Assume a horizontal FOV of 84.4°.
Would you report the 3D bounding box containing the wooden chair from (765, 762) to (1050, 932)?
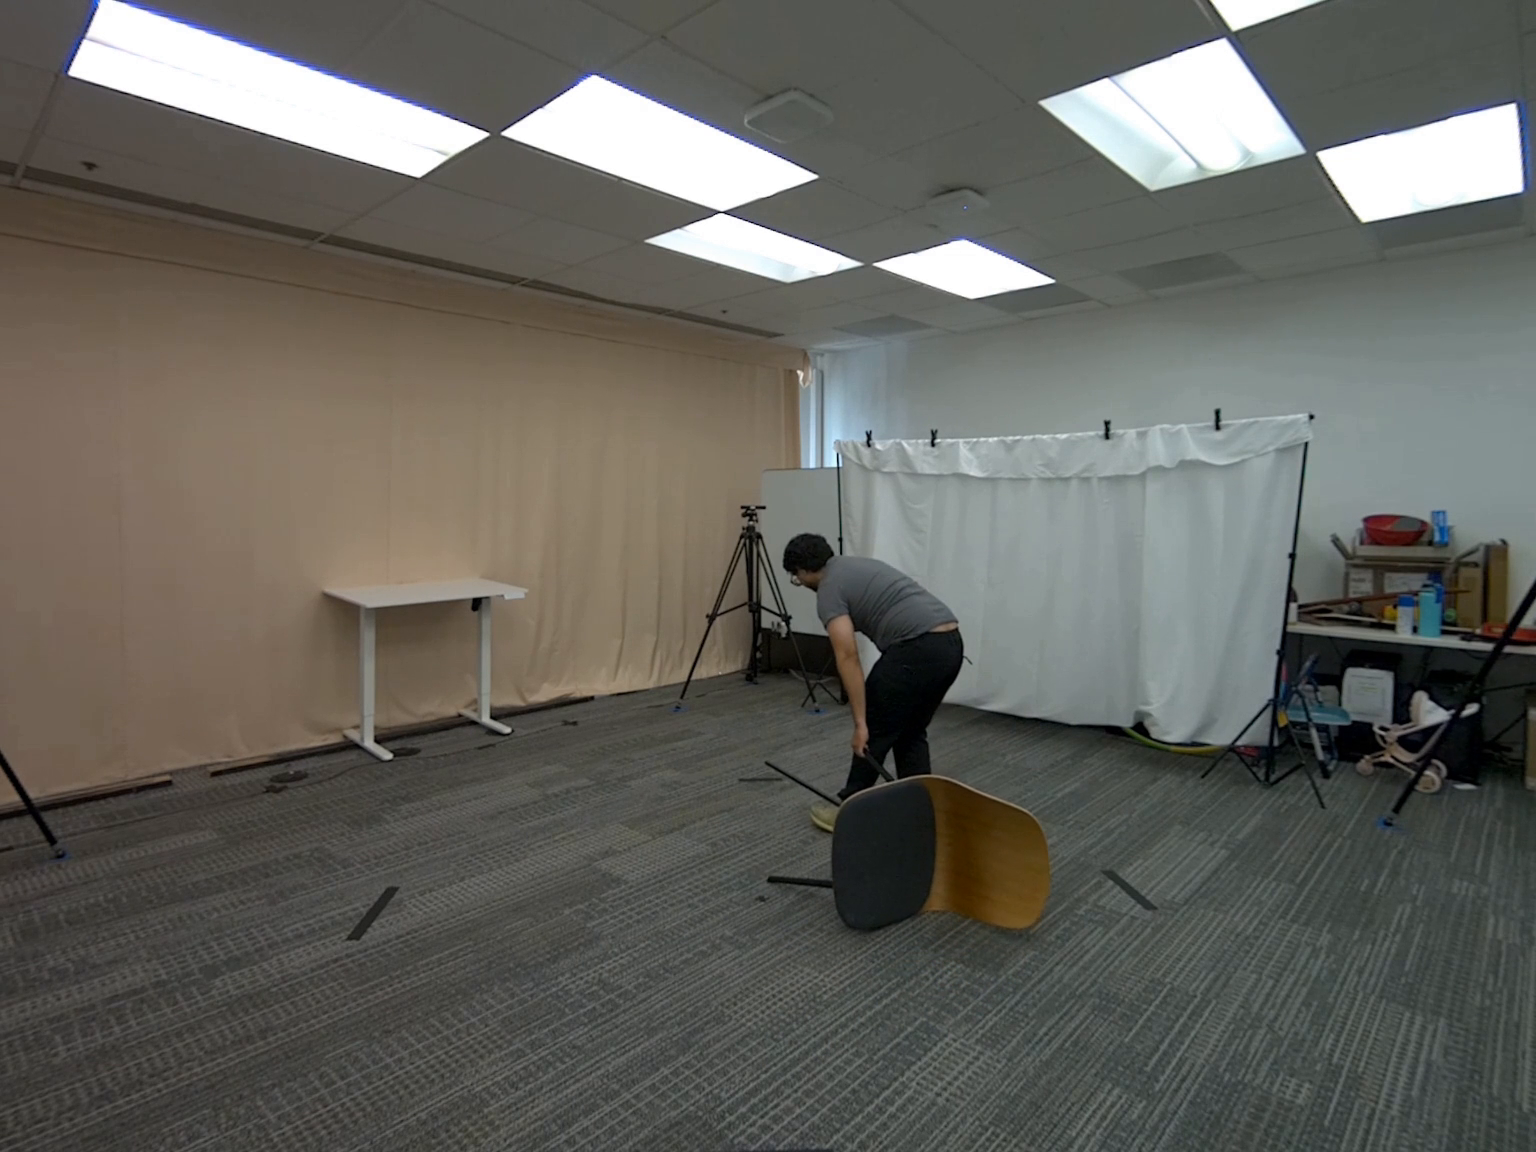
[{"bbox_3d":[0.416,0.922,2.860,0.508,0.477,0.906,-3,5,-38],"label":"wooden chair"}]
